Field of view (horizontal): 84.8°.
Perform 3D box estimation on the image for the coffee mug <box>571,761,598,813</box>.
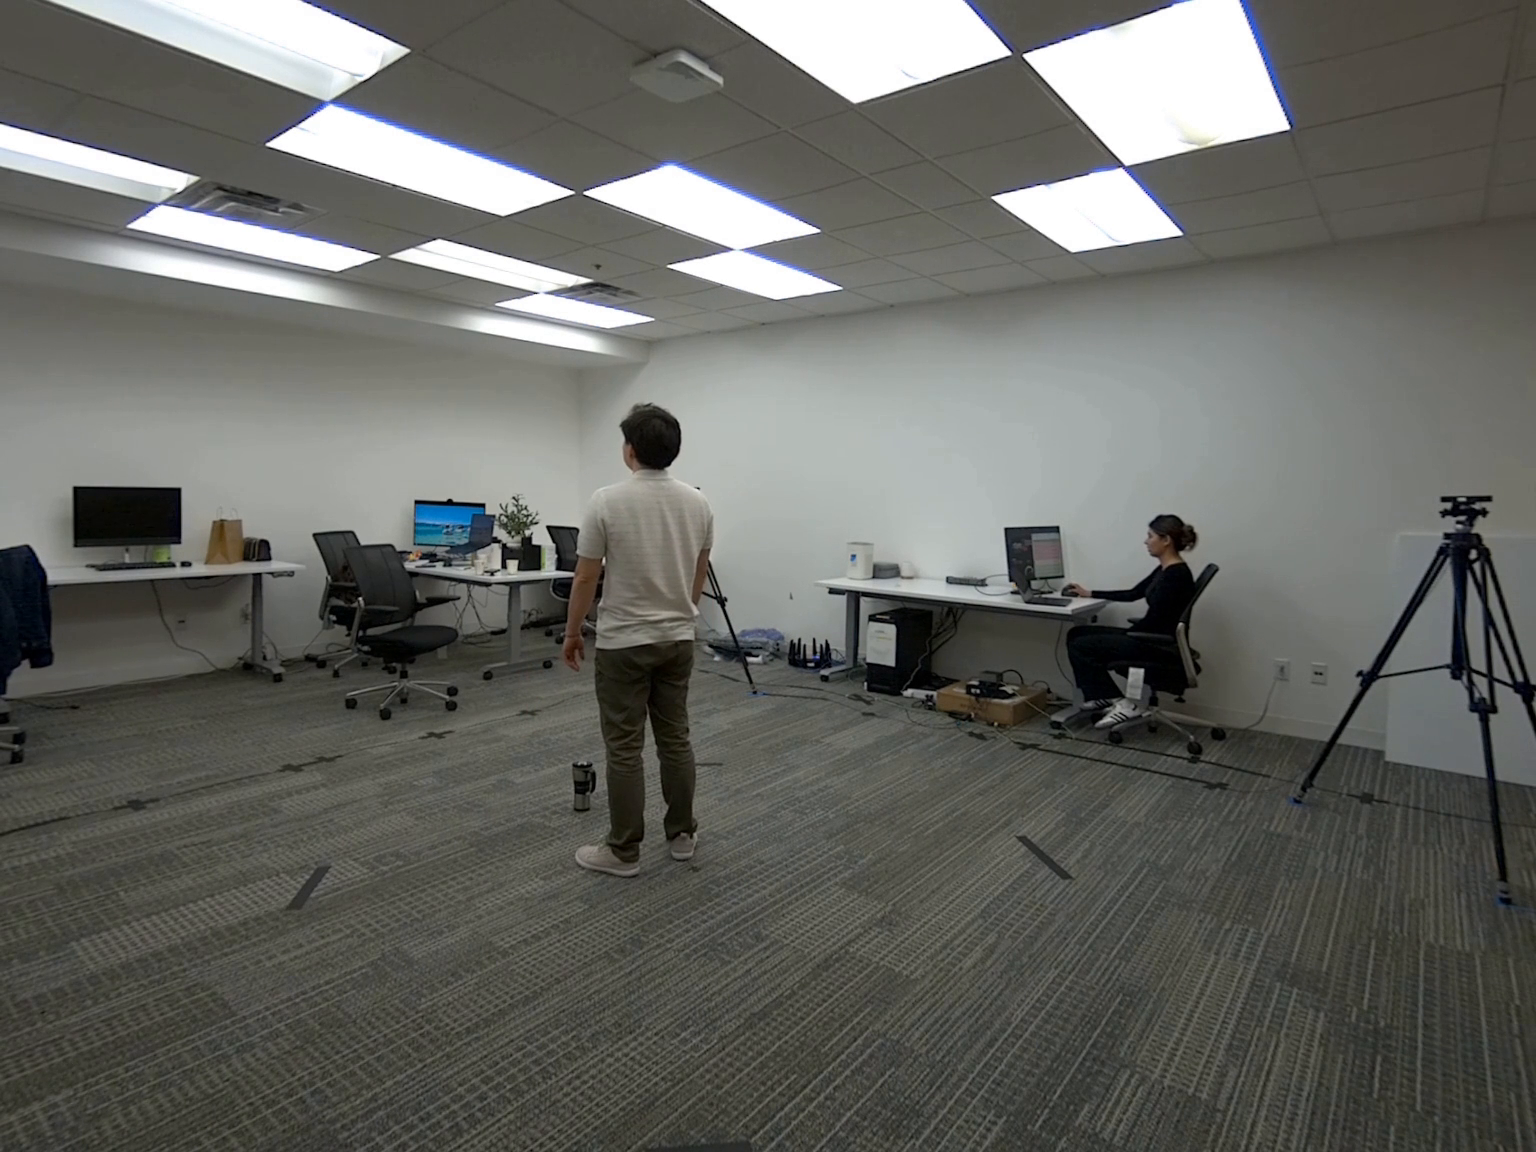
[{"bbox_3d":[-0.809,0.906,3.651,0.086,0.203,0.125,2,-1,-24],"label":"coffee mug"}]
